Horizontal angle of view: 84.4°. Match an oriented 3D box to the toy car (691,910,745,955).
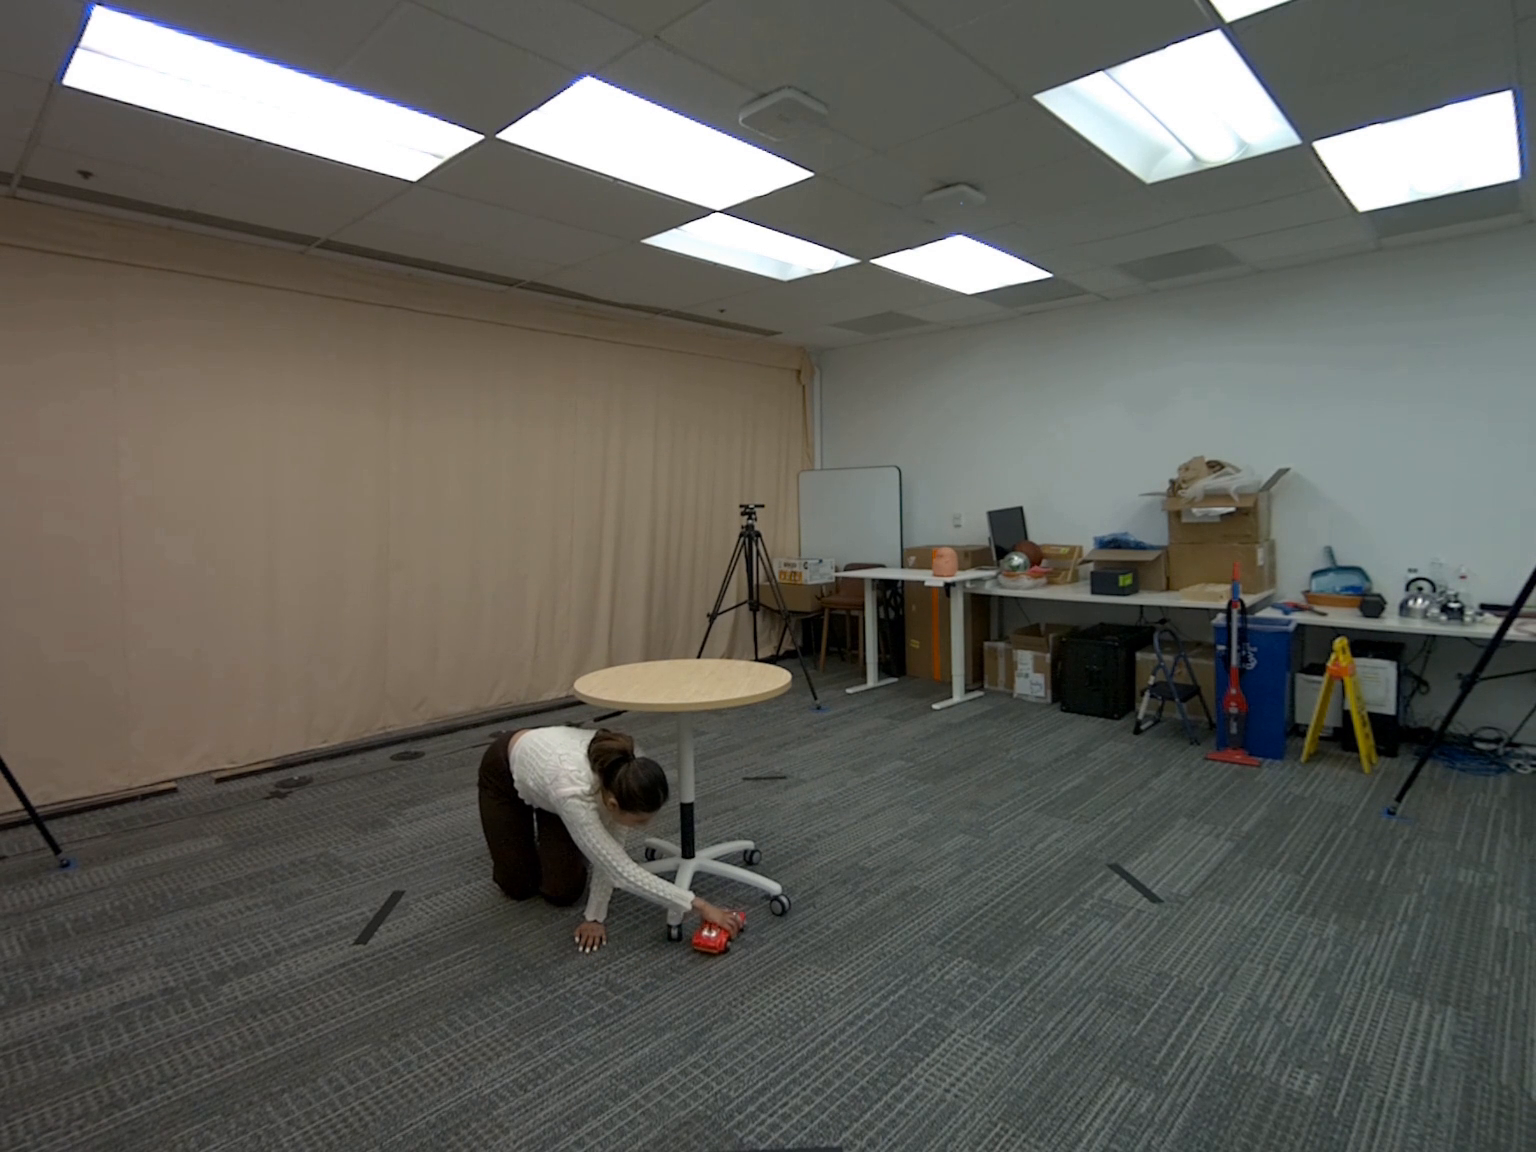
[{"bbox_3d":[-0.162,1.135,2.693,0.133,0.083,0.248,1,-7,21],"label":"toy car"}]
